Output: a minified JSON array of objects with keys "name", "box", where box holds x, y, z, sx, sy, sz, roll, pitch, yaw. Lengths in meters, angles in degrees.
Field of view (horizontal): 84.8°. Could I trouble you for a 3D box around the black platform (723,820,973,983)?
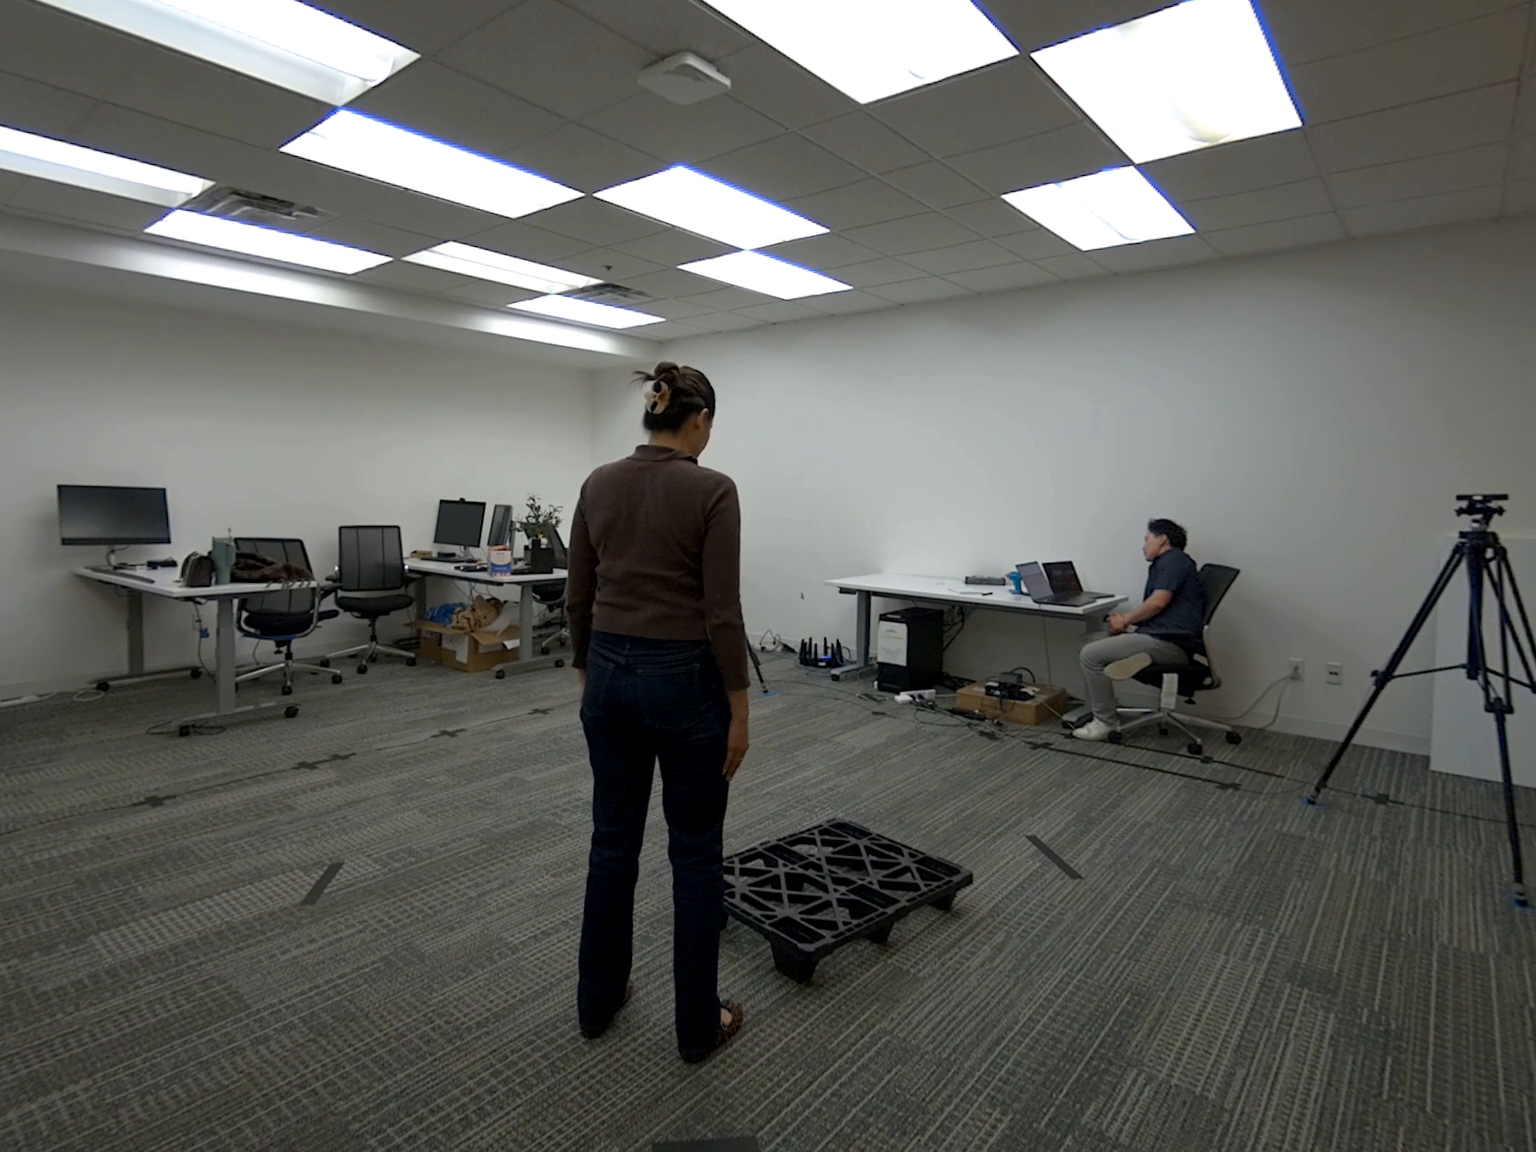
[{"name":"black platform","box":[0.180,1.037,2.794,0.781,0.143,0.626,-4,7,-42]}]
